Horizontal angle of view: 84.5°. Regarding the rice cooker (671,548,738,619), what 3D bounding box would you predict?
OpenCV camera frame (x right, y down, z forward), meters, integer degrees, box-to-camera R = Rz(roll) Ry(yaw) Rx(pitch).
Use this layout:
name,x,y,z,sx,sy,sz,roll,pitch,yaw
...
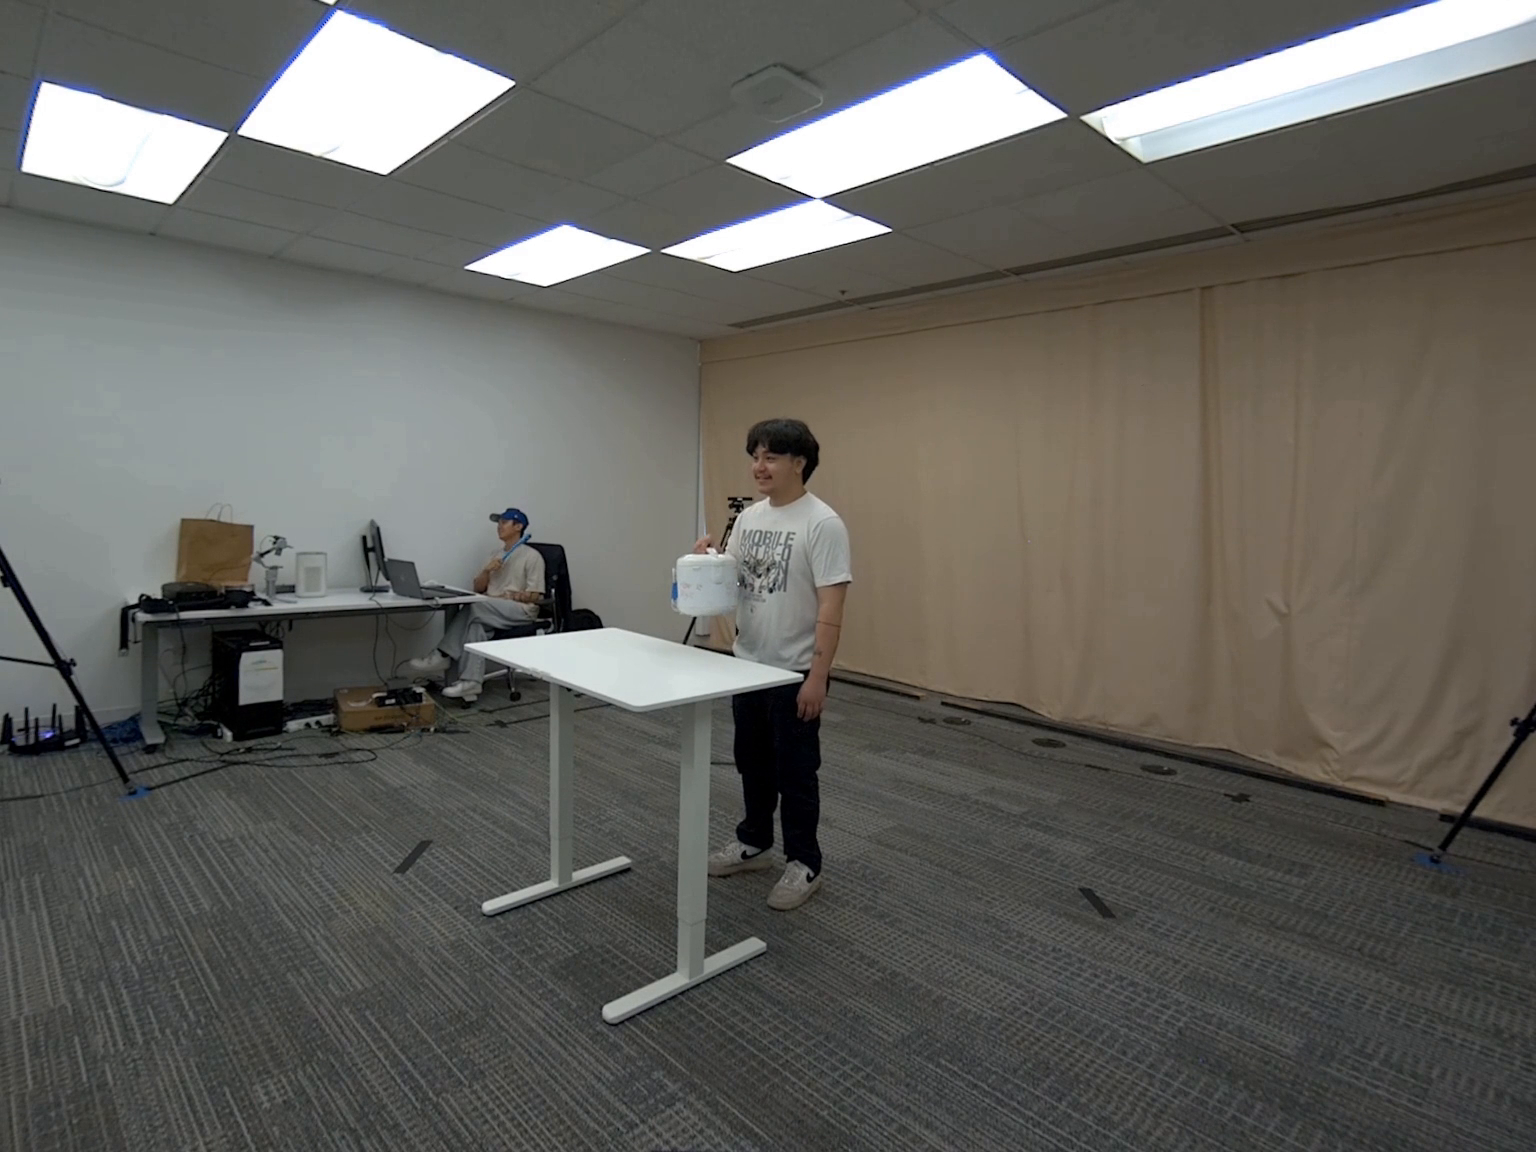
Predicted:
name,x,y,z,sx,sy,sz,roll,pitch,yaw
rice cooker,-0.215,0.021,2.894,0.214,0.233,0.224,-1,1,-20
